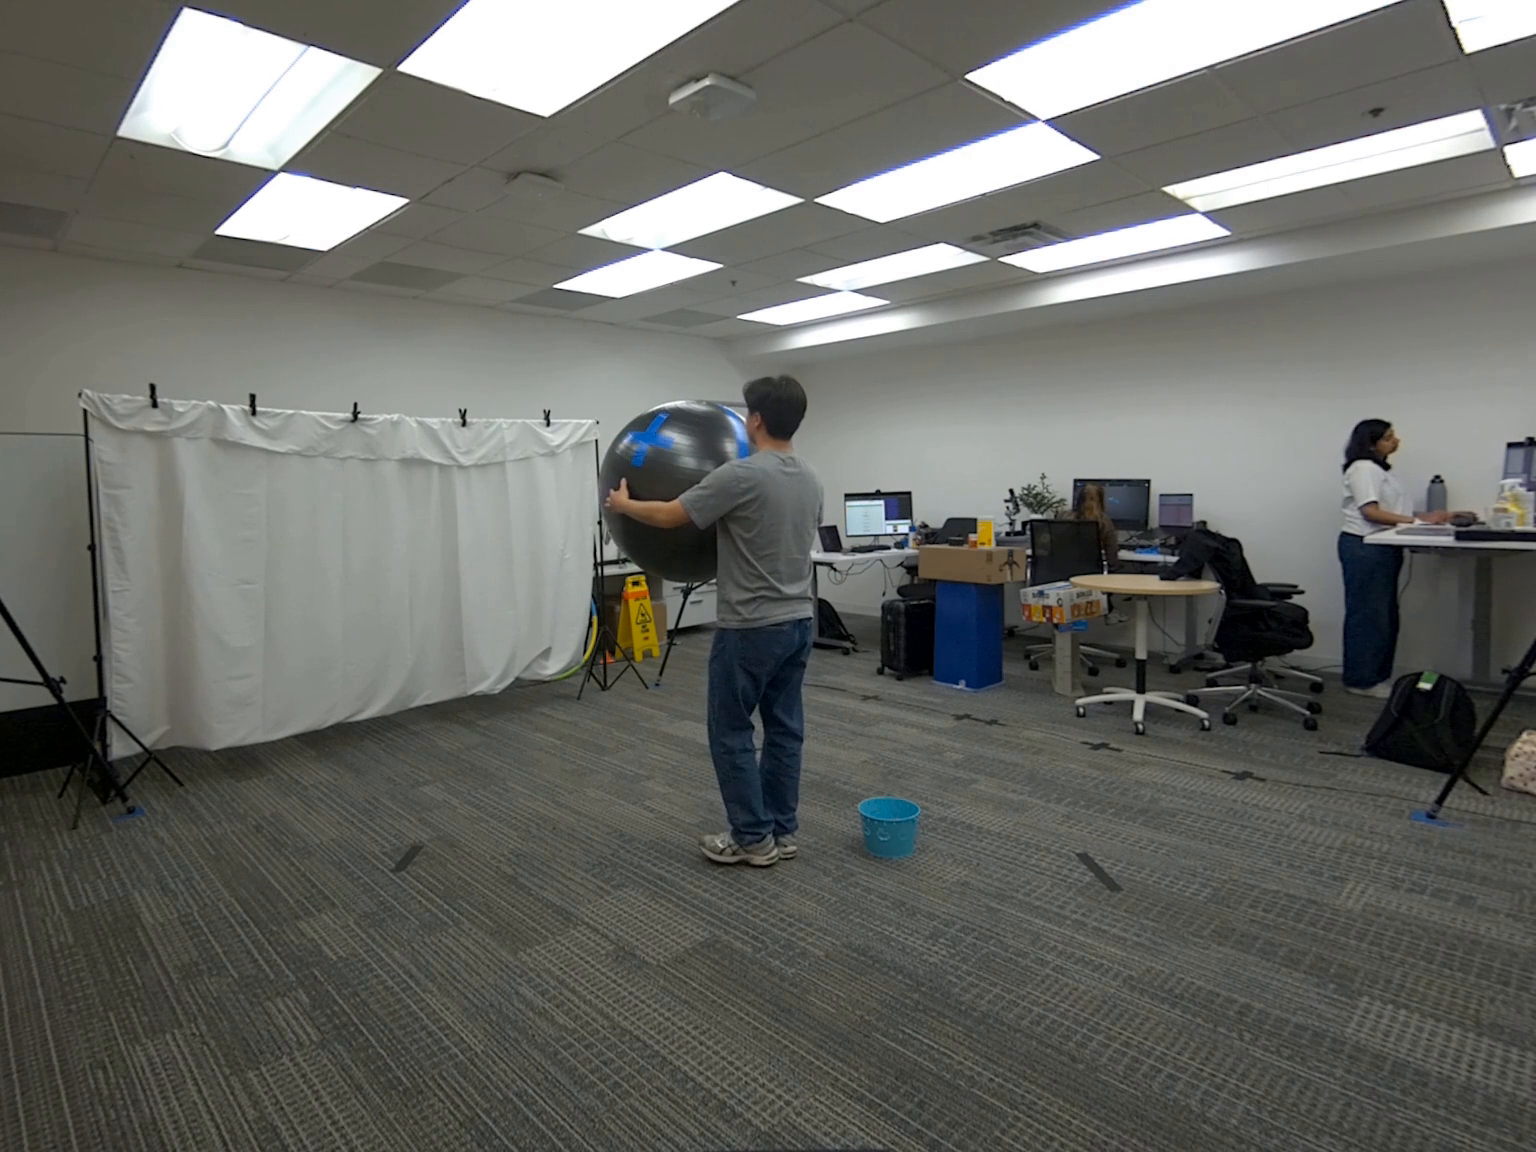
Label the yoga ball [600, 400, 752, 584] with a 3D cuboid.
[{"bbox_3d":[-0.346,-0.345,3.582,0.757,0.755,0.762,-1,5,-2],"label":"yoga ball"}]
